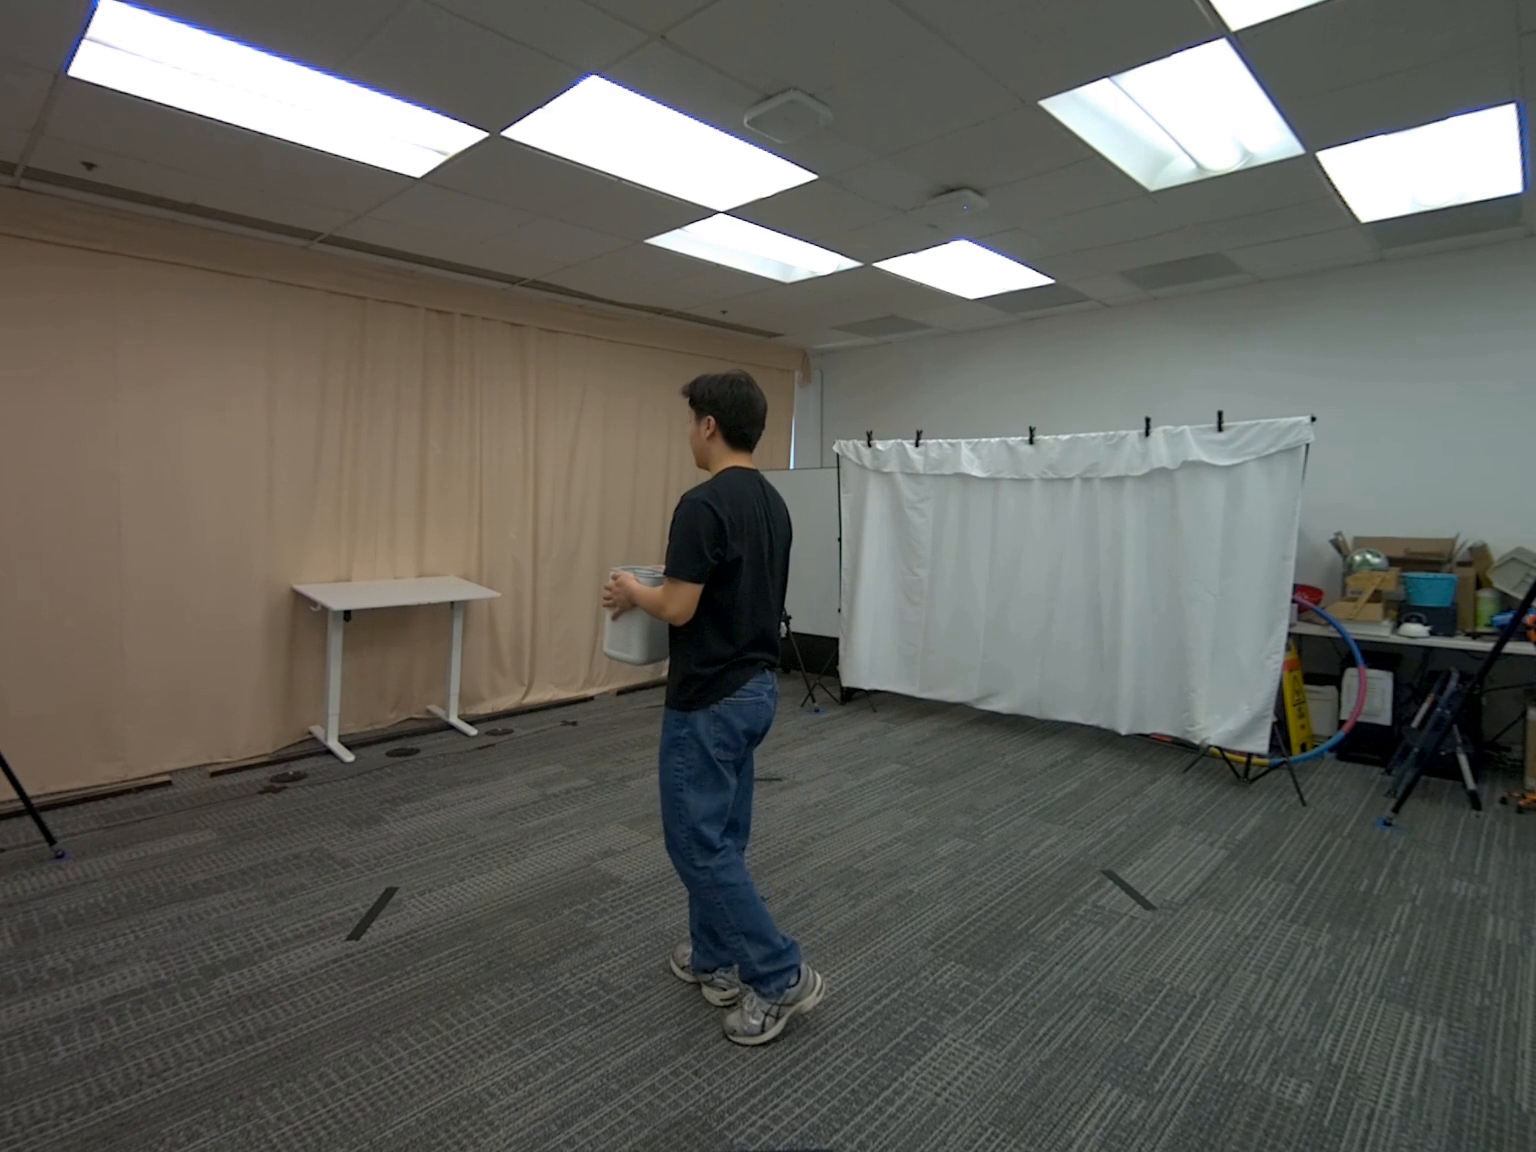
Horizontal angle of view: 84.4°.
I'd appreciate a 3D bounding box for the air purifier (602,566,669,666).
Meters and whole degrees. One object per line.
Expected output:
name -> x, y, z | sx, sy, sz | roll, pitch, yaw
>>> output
air purifier -> -0.366, 0.118, 2.472 | 0.177, 0.264, 0.166 | 11, 8, 29
